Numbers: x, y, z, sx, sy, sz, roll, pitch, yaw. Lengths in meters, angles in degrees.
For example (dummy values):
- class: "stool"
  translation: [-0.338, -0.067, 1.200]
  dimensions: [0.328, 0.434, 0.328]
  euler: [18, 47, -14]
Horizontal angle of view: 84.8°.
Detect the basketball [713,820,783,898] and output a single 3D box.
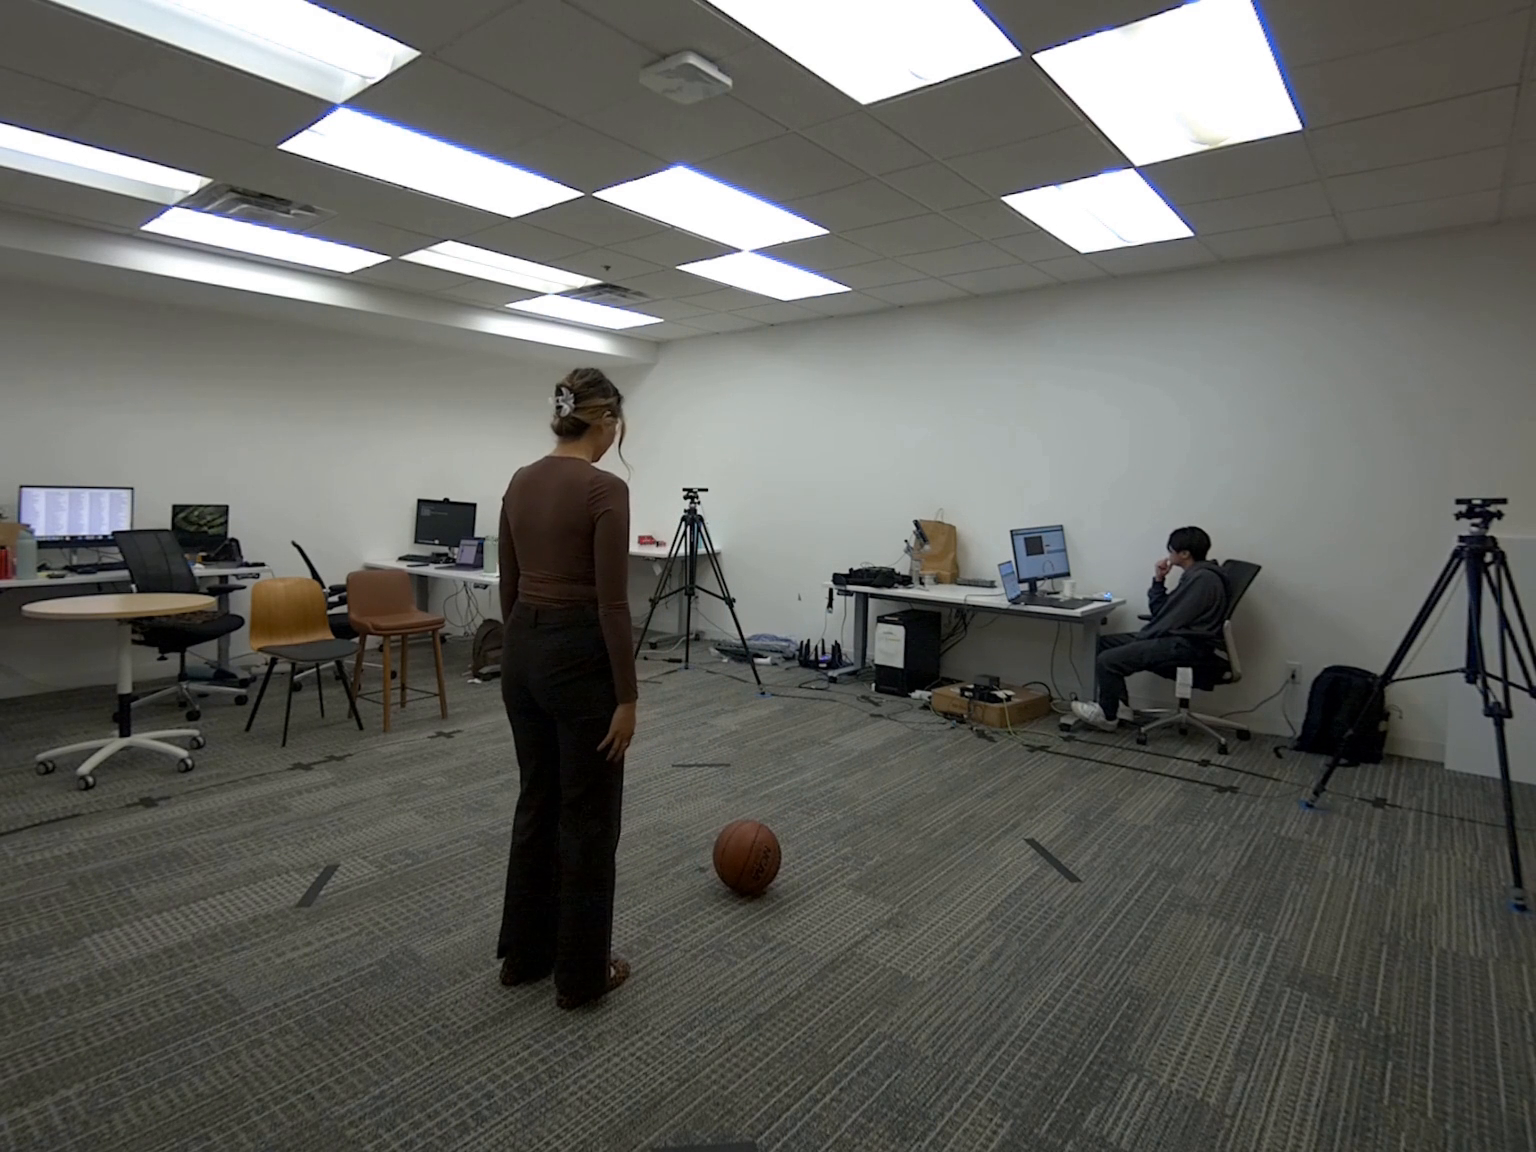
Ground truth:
- class: "basketball"
  translation: [-0.079, 0.964, 2.953]
  dimensions: [0.235, 0.235, 0.237]
  euler: [1, 4, -2]
